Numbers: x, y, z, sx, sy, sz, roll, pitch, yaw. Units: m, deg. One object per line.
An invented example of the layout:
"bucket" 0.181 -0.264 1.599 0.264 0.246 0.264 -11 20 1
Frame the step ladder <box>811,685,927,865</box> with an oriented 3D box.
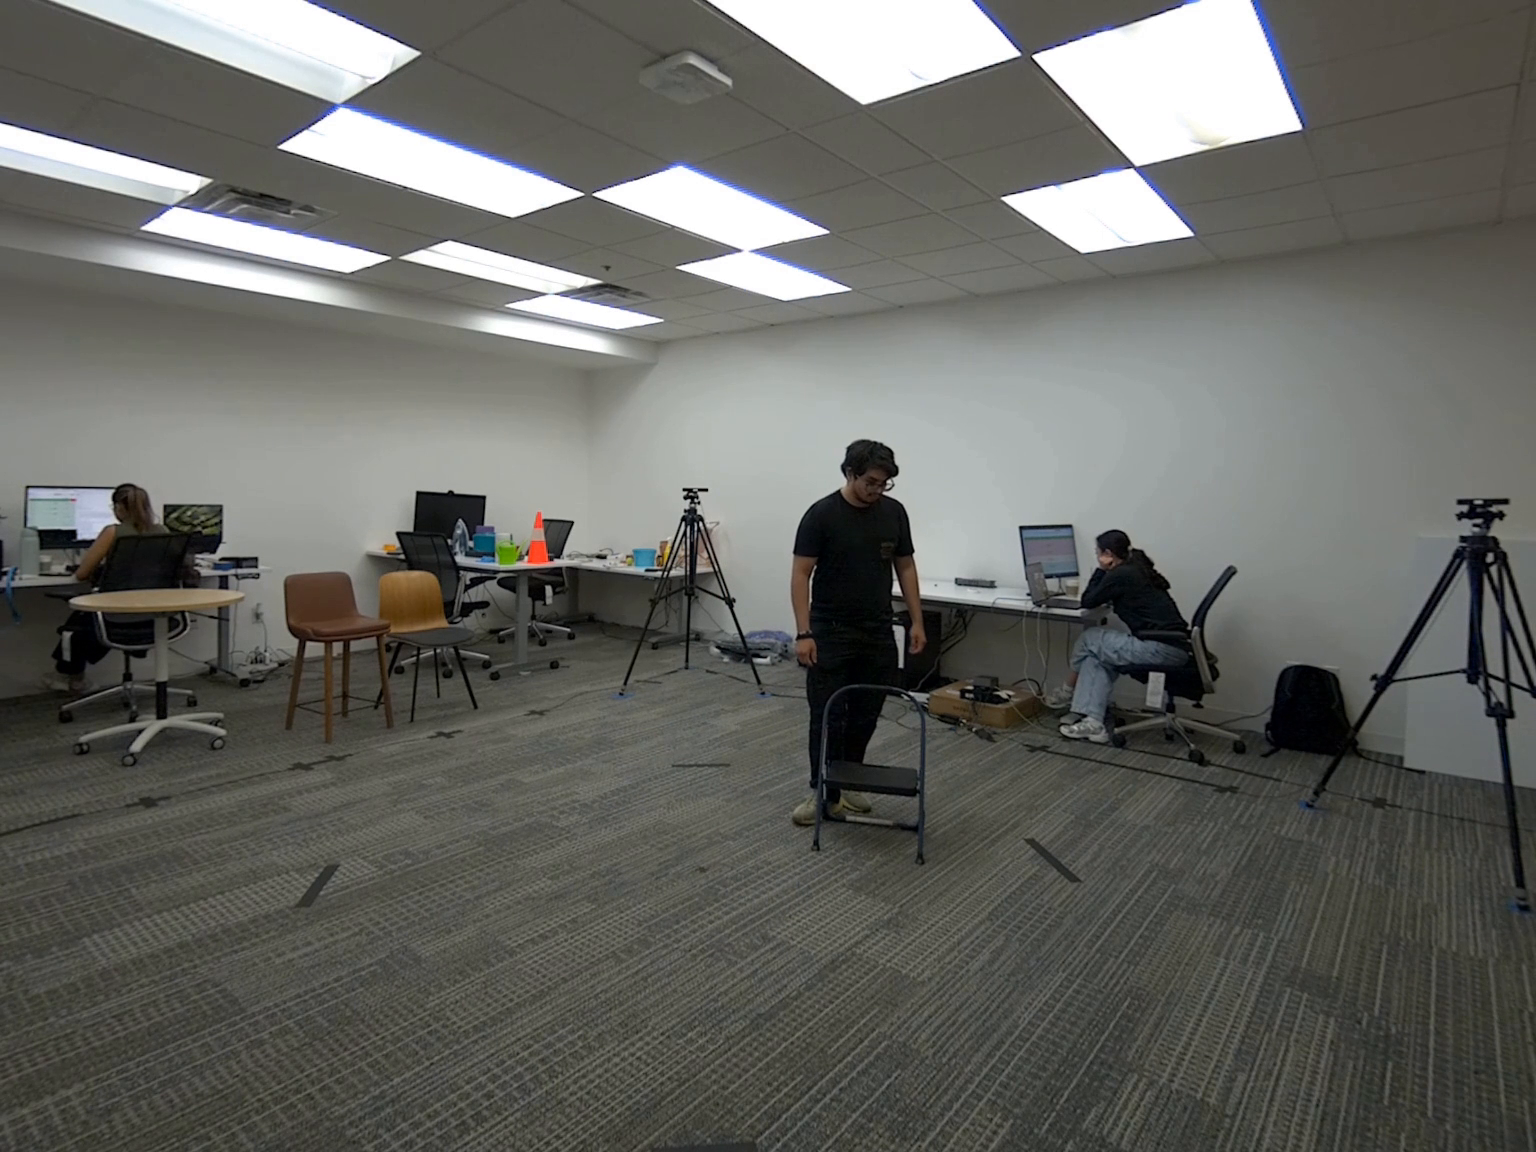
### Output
"step ladder" 0.421 0.756 3.407 0.437 0.604 0.345 2 3 12
